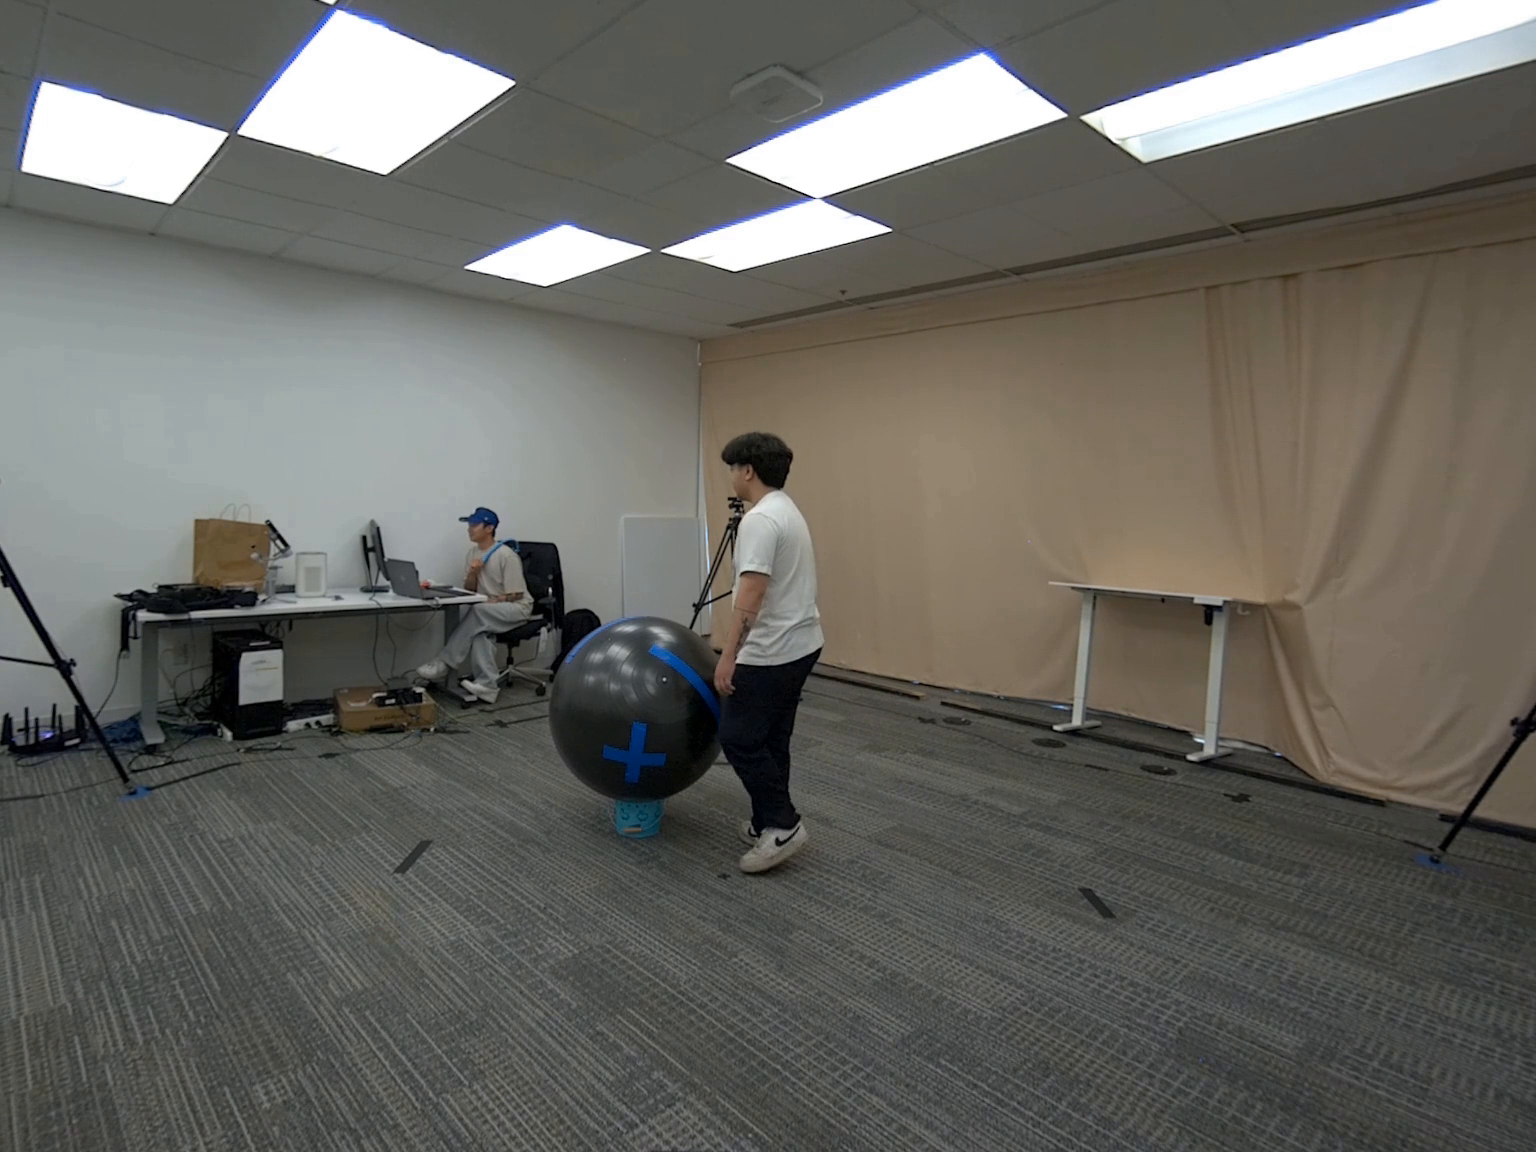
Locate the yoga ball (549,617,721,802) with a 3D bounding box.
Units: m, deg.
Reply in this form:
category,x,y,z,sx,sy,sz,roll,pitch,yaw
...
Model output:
category,x,y,z,sx,sy,sz,roll,pitch,yaw
yoga ball,-0.532,0.551,3.515,0.757,0.756,0.760,1,4,-1
